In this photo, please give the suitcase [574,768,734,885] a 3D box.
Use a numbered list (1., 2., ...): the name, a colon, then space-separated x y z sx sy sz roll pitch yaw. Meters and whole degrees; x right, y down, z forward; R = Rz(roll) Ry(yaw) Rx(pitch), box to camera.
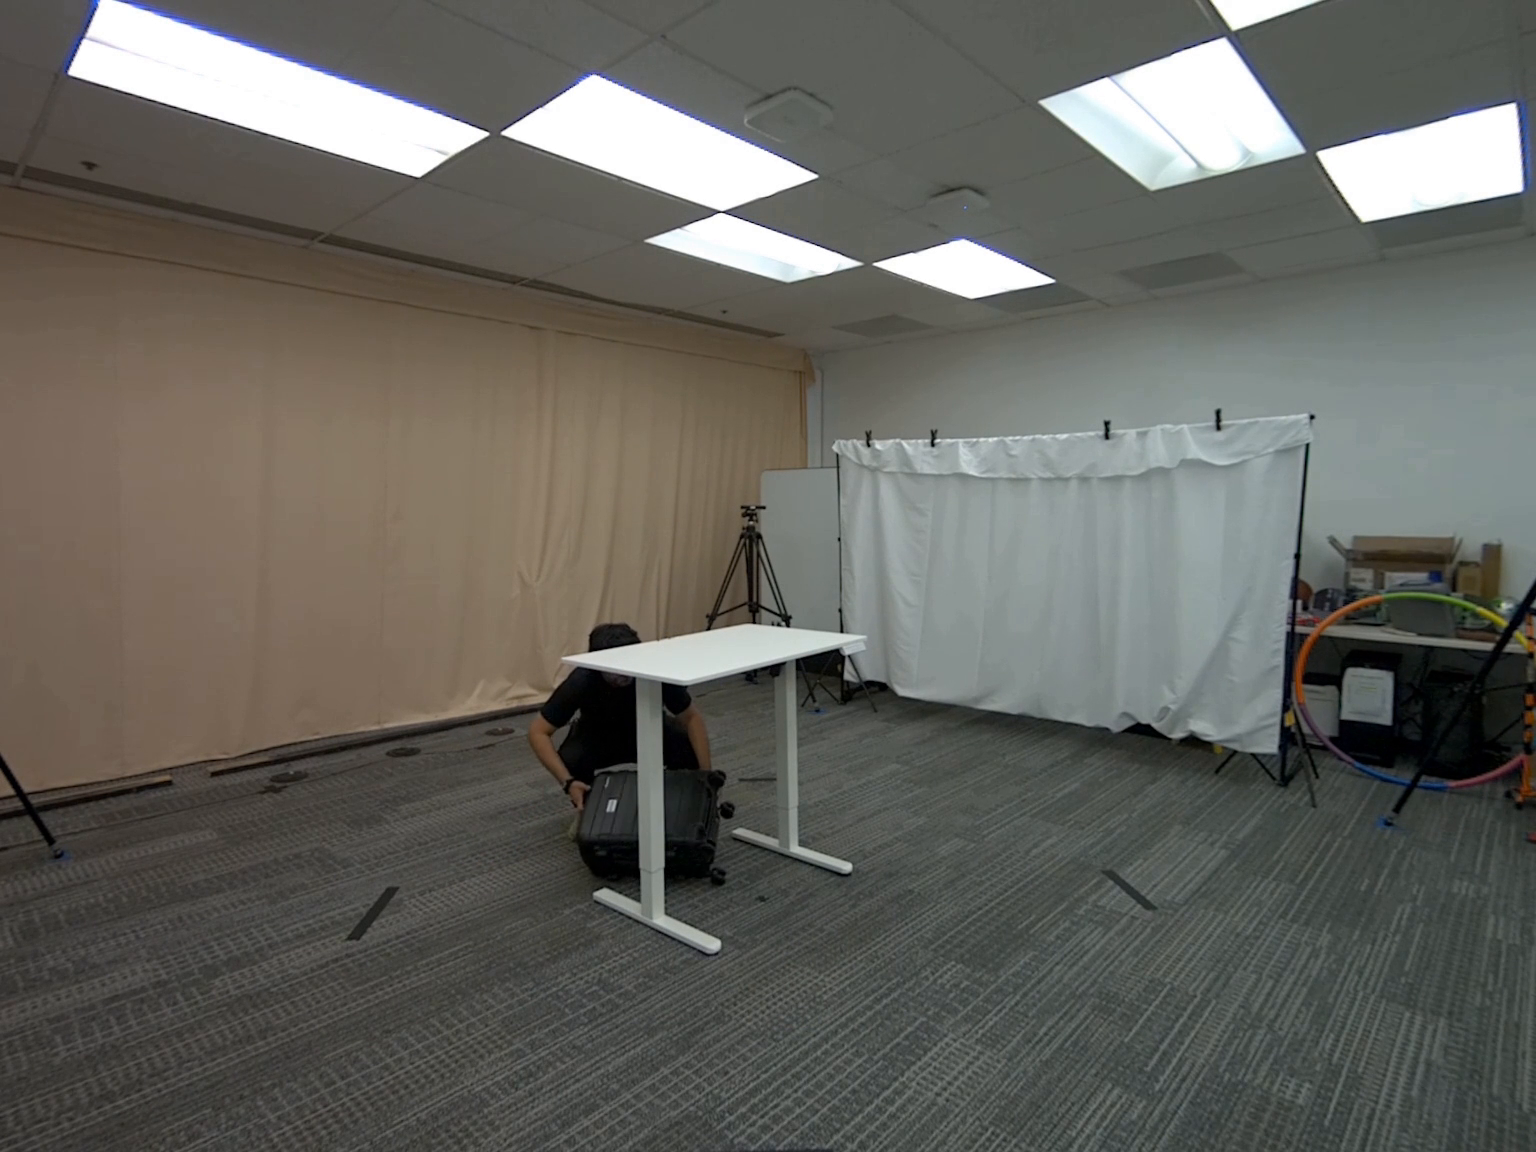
1. suitcase: -0.426 0.935 3.193 0.556 0.242 0.380 -3 40 12
